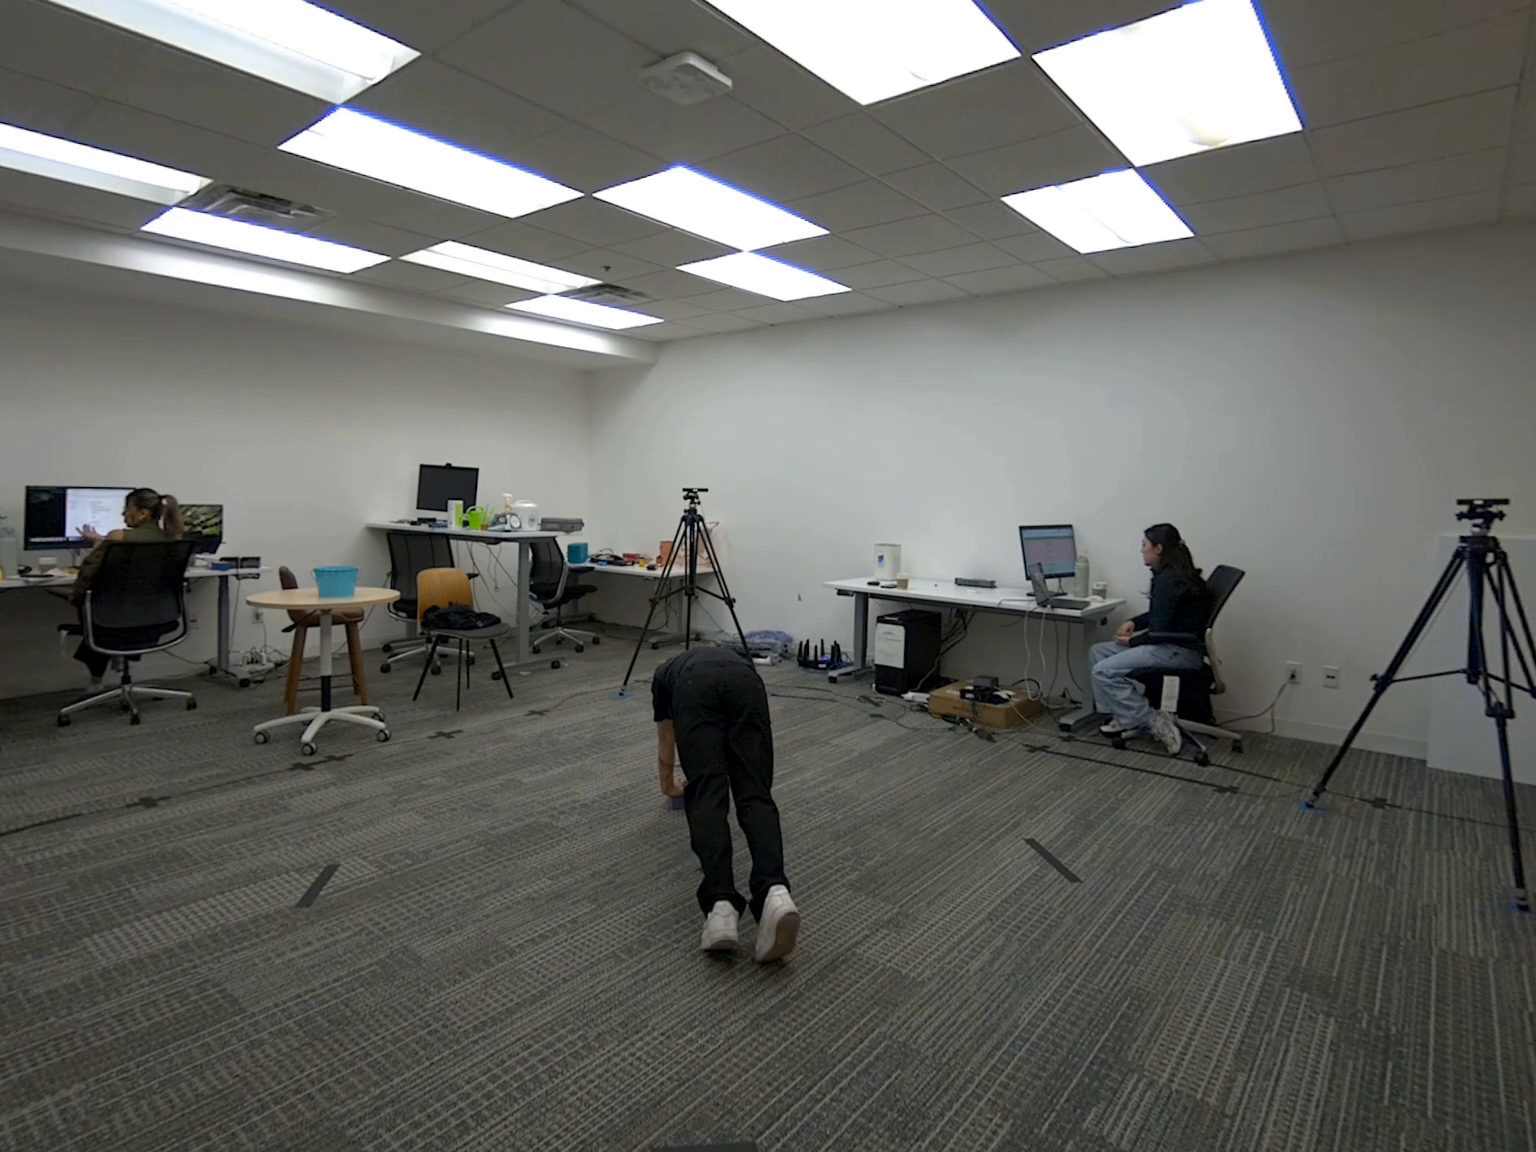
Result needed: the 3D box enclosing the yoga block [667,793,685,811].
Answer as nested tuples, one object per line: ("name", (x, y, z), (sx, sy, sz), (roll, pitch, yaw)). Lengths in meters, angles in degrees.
("yoga block", (-0.328, 0.960, 3.765), (0.227, 0.076, 0.151), (0, 3, -11))
